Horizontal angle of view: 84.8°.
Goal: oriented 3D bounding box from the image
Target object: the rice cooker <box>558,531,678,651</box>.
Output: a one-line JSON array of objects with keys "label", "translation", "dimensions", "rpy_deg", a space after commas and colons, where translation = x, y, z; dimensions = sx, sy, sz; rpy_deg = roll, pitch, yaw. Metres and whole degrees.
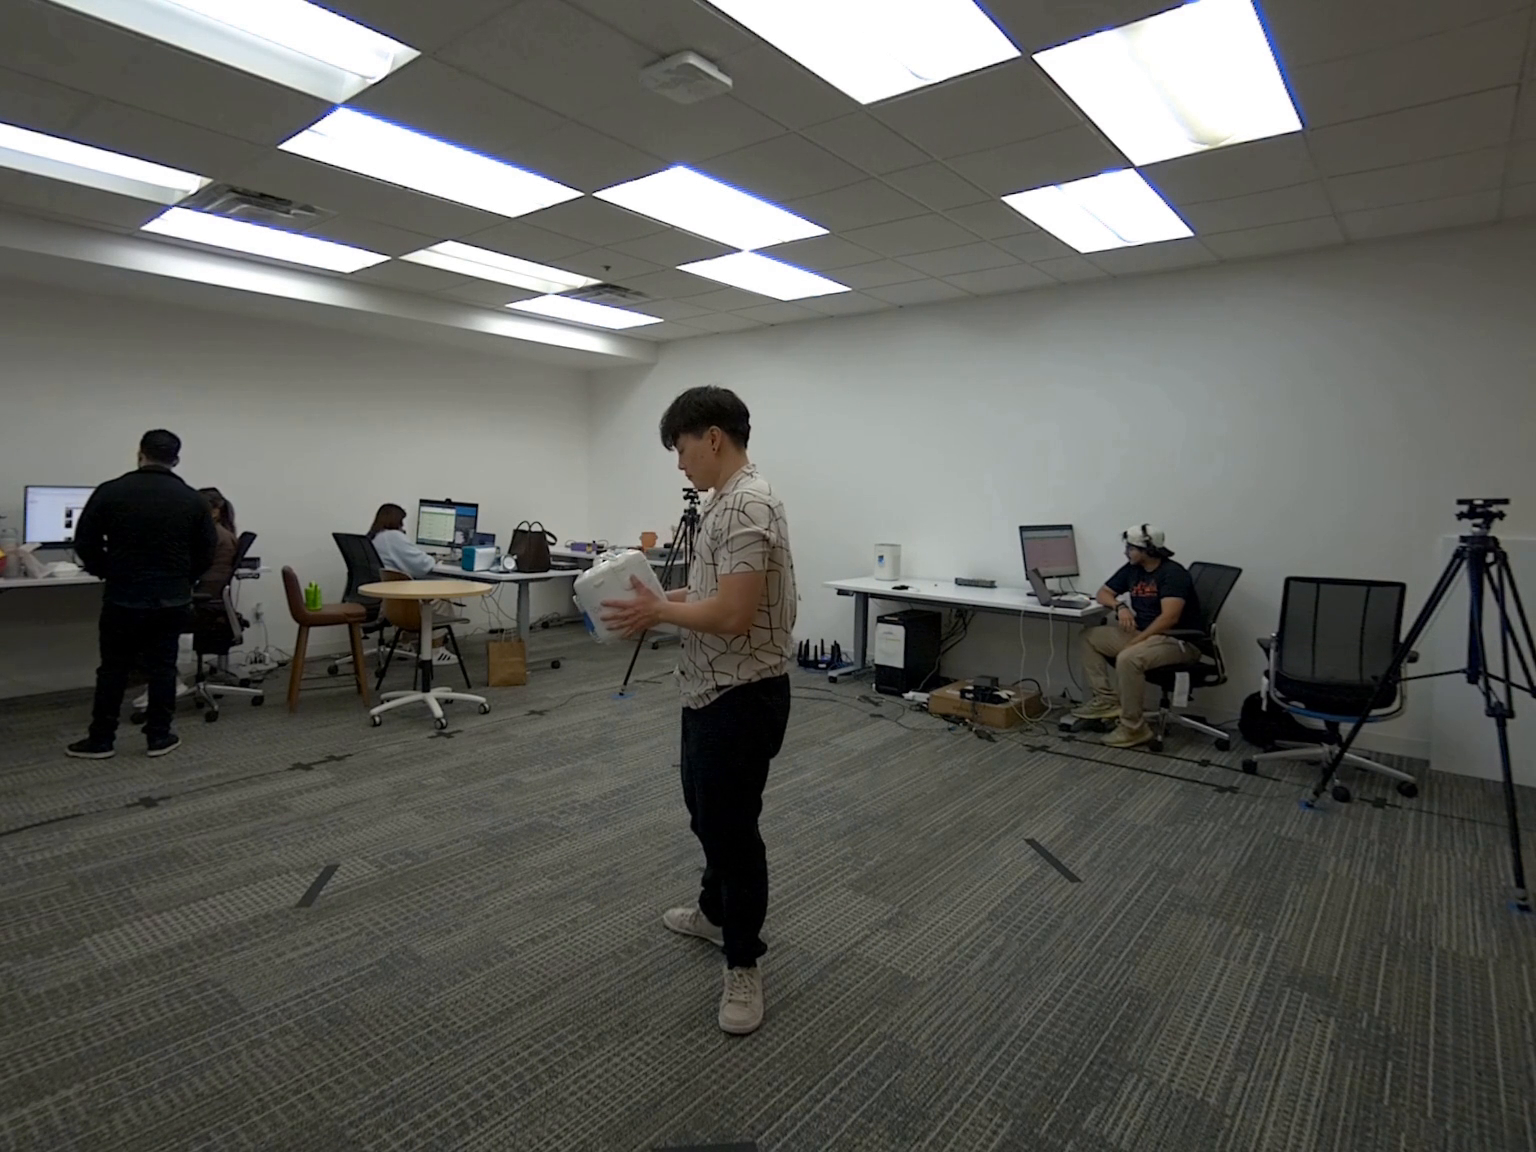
[{"label": "rice cooker", "translation": [-0.407, 0.045, 2.324], "dimensions": [0.215, 0.232, 0.224], "rpy_deg": [-28, 3, -26]}]
